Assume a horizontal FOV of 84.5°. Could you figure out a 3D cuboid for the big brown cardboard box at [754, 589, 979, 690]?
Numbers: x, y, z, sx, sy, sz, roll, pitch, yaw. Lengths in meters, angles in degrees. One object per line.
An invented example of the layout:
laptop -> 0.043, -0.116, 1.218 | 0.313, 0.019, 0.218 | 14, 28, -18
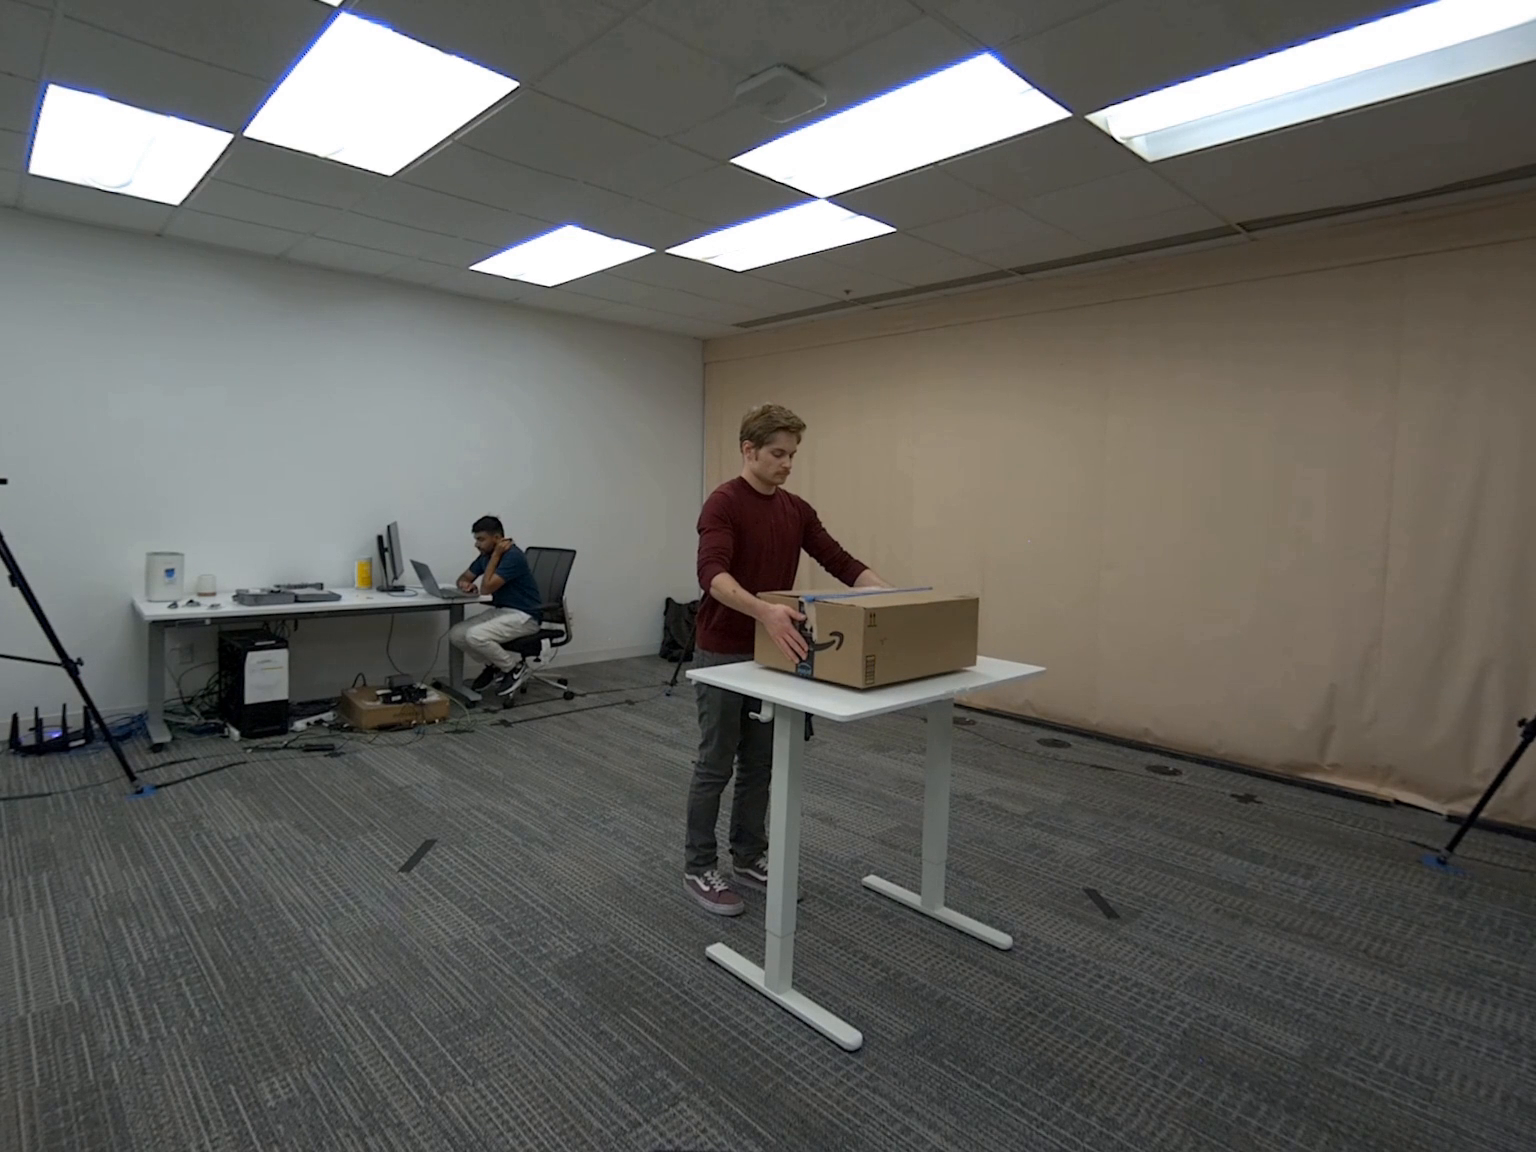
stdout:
big brown cardboard box -> 0.300, 0.161, 2.552 | 0.575, 0.232, 0.428 | -3, 6, -44
